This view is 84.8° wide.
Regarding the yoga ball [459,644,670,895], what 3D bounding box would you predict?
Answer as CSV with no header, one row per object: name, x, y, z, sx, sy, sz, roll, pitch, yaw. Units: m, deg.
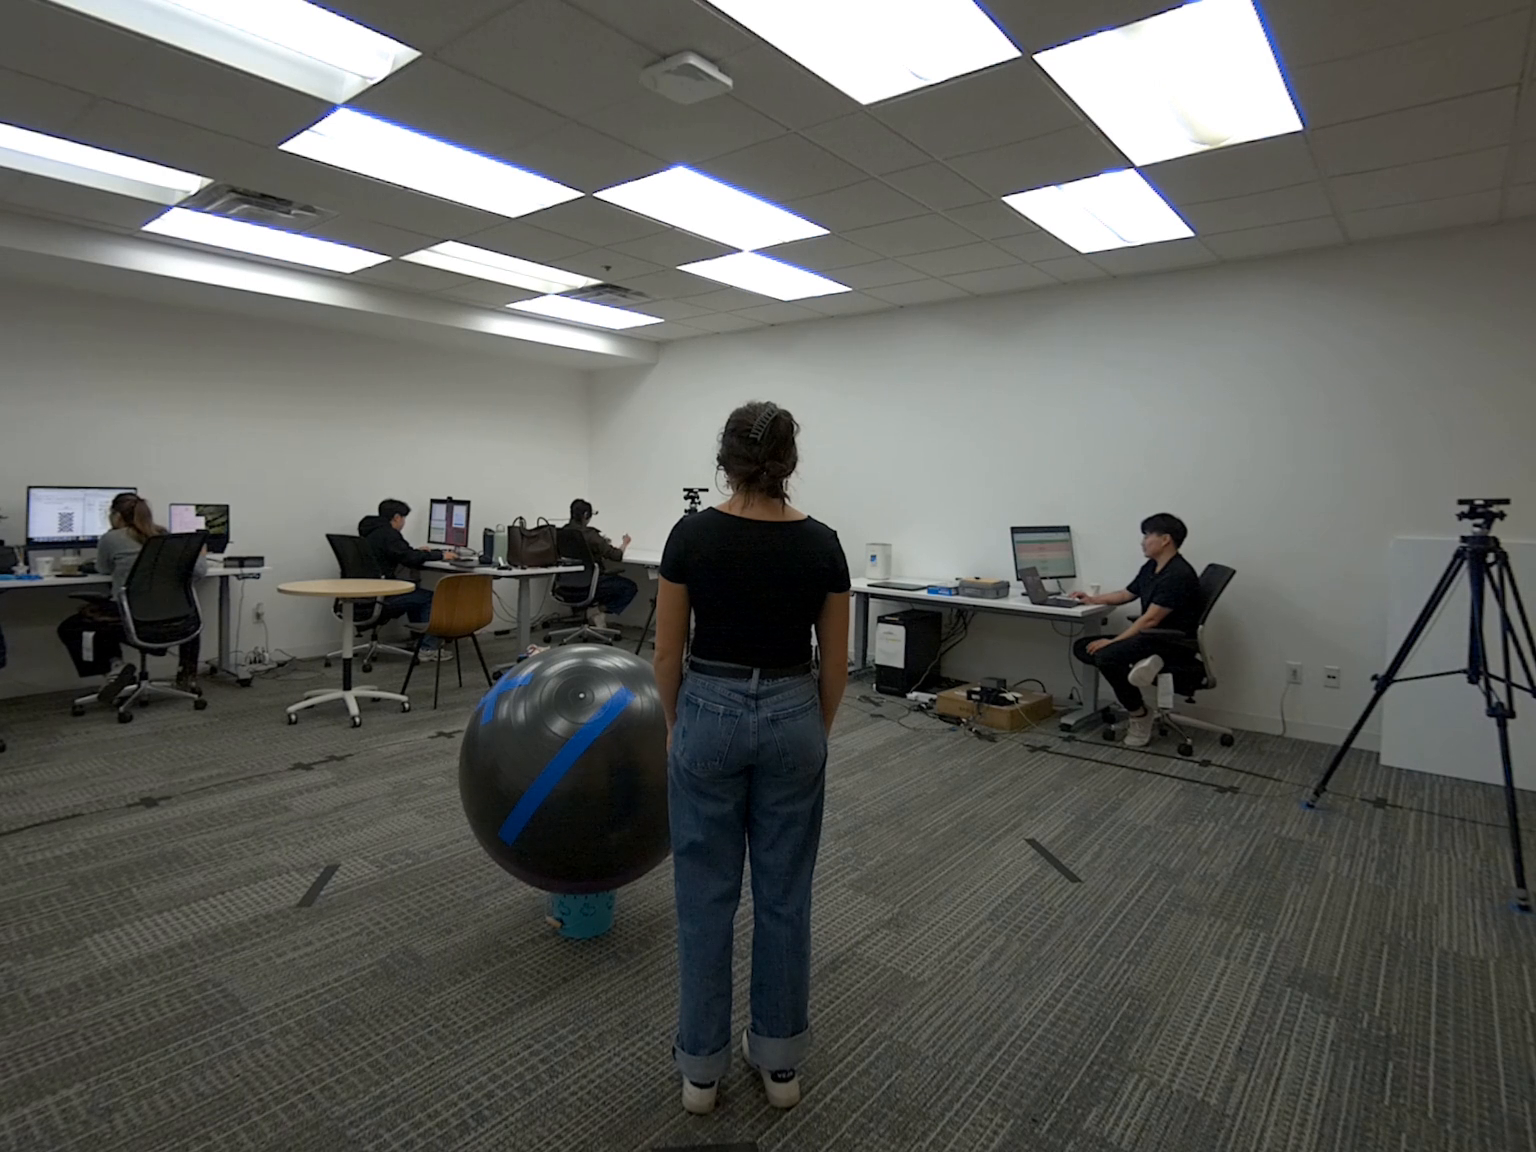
yoga ball,-0.593,0.599,2.665,0.757,0.756,0.762,1,4,-2
